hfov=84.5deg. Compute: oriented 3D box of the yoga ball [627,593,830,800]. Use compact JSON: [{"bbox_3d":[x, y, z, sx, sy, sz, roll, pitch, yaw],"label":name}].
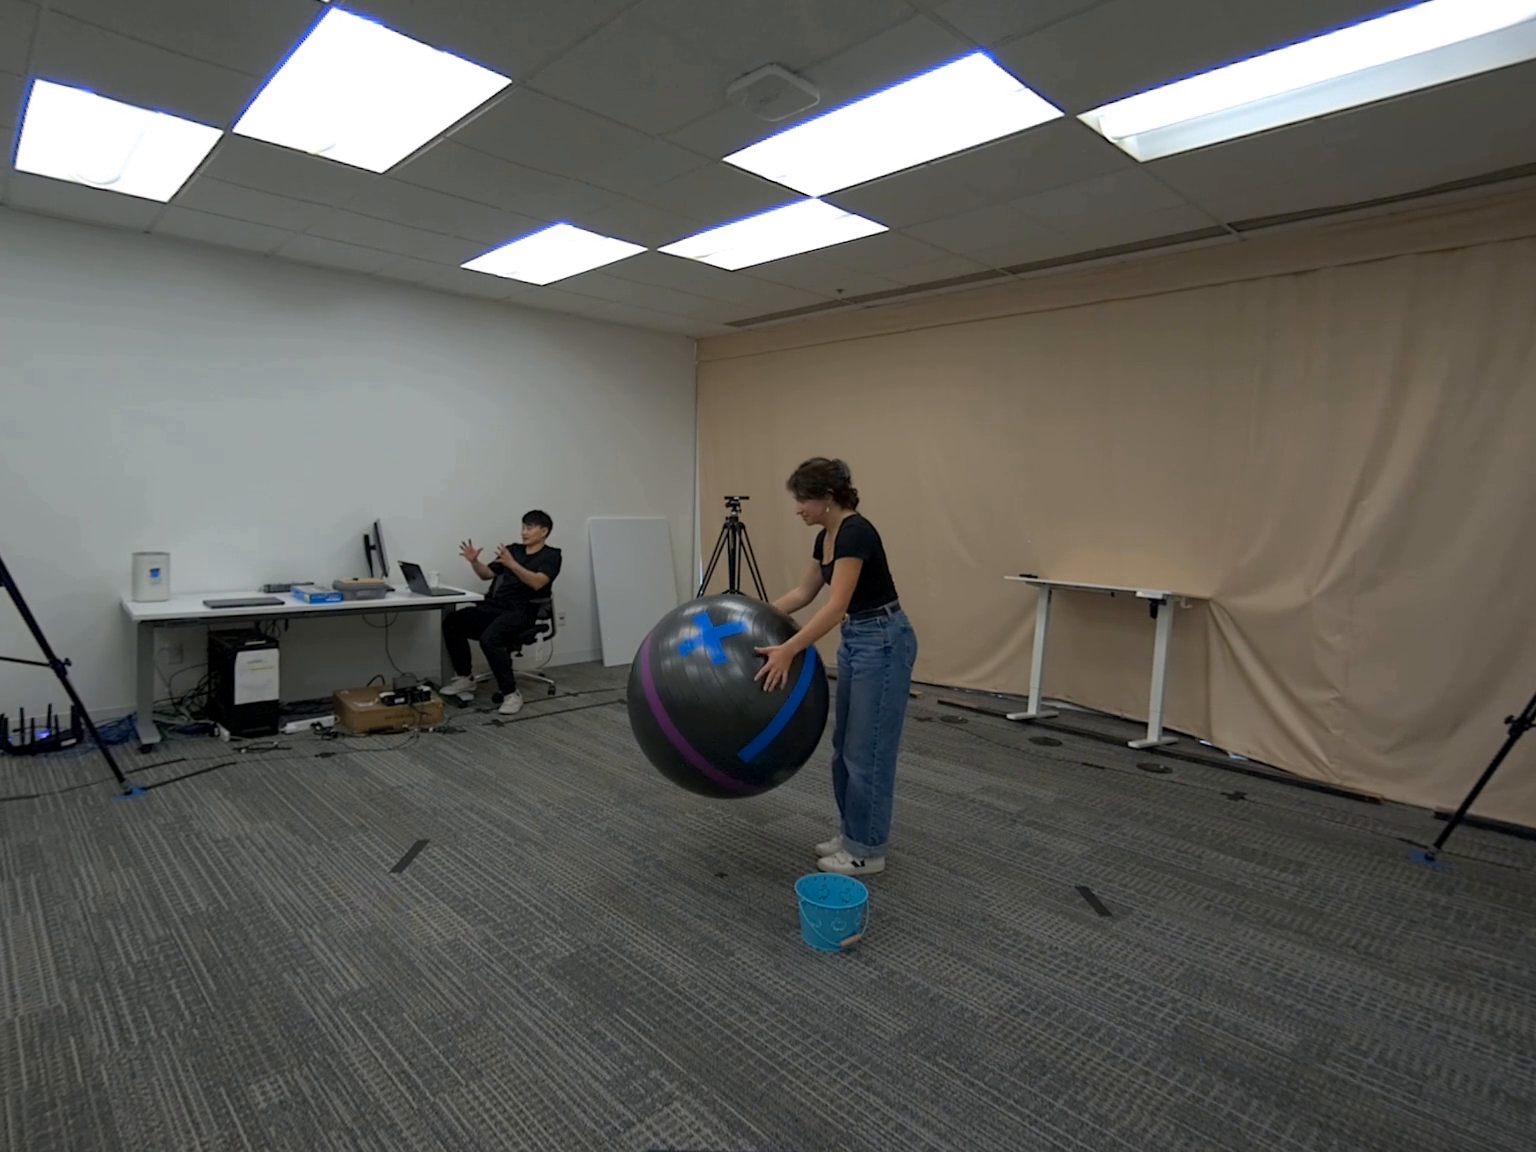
[{"bbox_3d":[-0.164,0.481,3.180,0.757,0.756,0.761,1,4,-1],"label":"yoga ball"}]
